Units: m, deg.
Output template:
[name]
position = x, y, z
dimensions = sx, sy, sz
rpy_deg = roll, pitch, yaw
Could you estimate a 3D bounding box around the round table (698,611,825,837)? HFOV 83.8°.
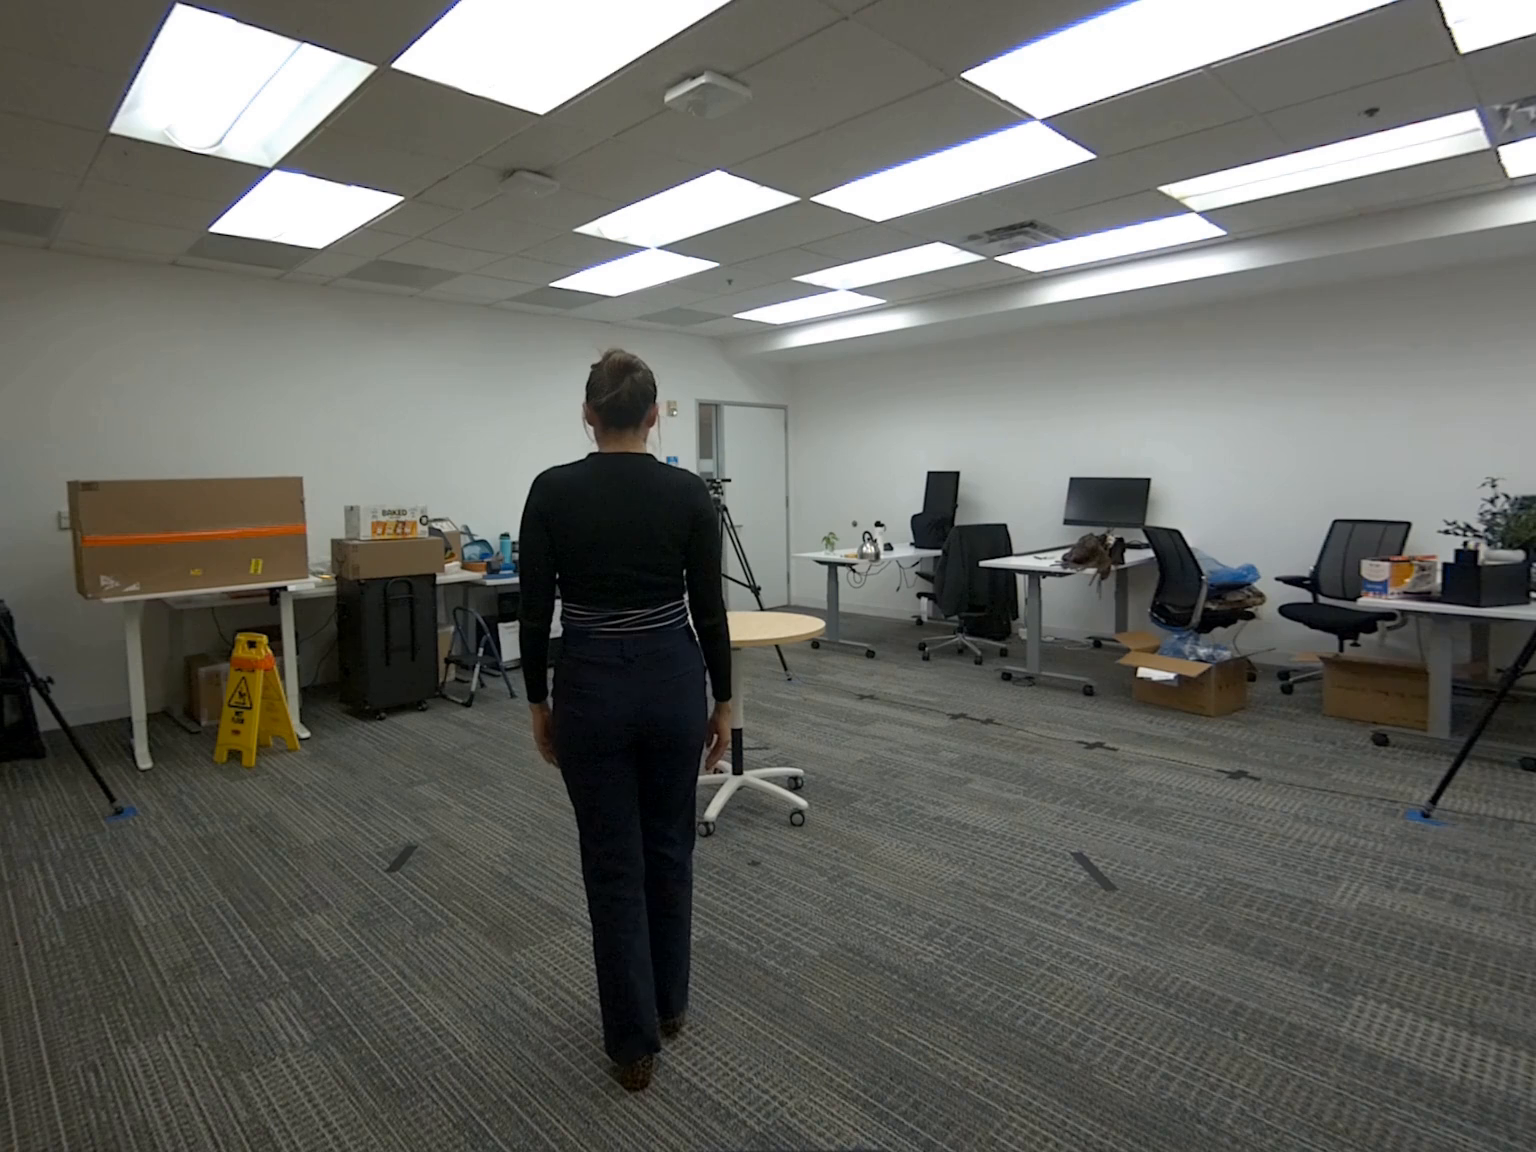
[round table]
position = -0.128, 0.599, 3.634
dimensions = 0.763, 0.791, 0.767
rpy_deg = -1, 4, -2
